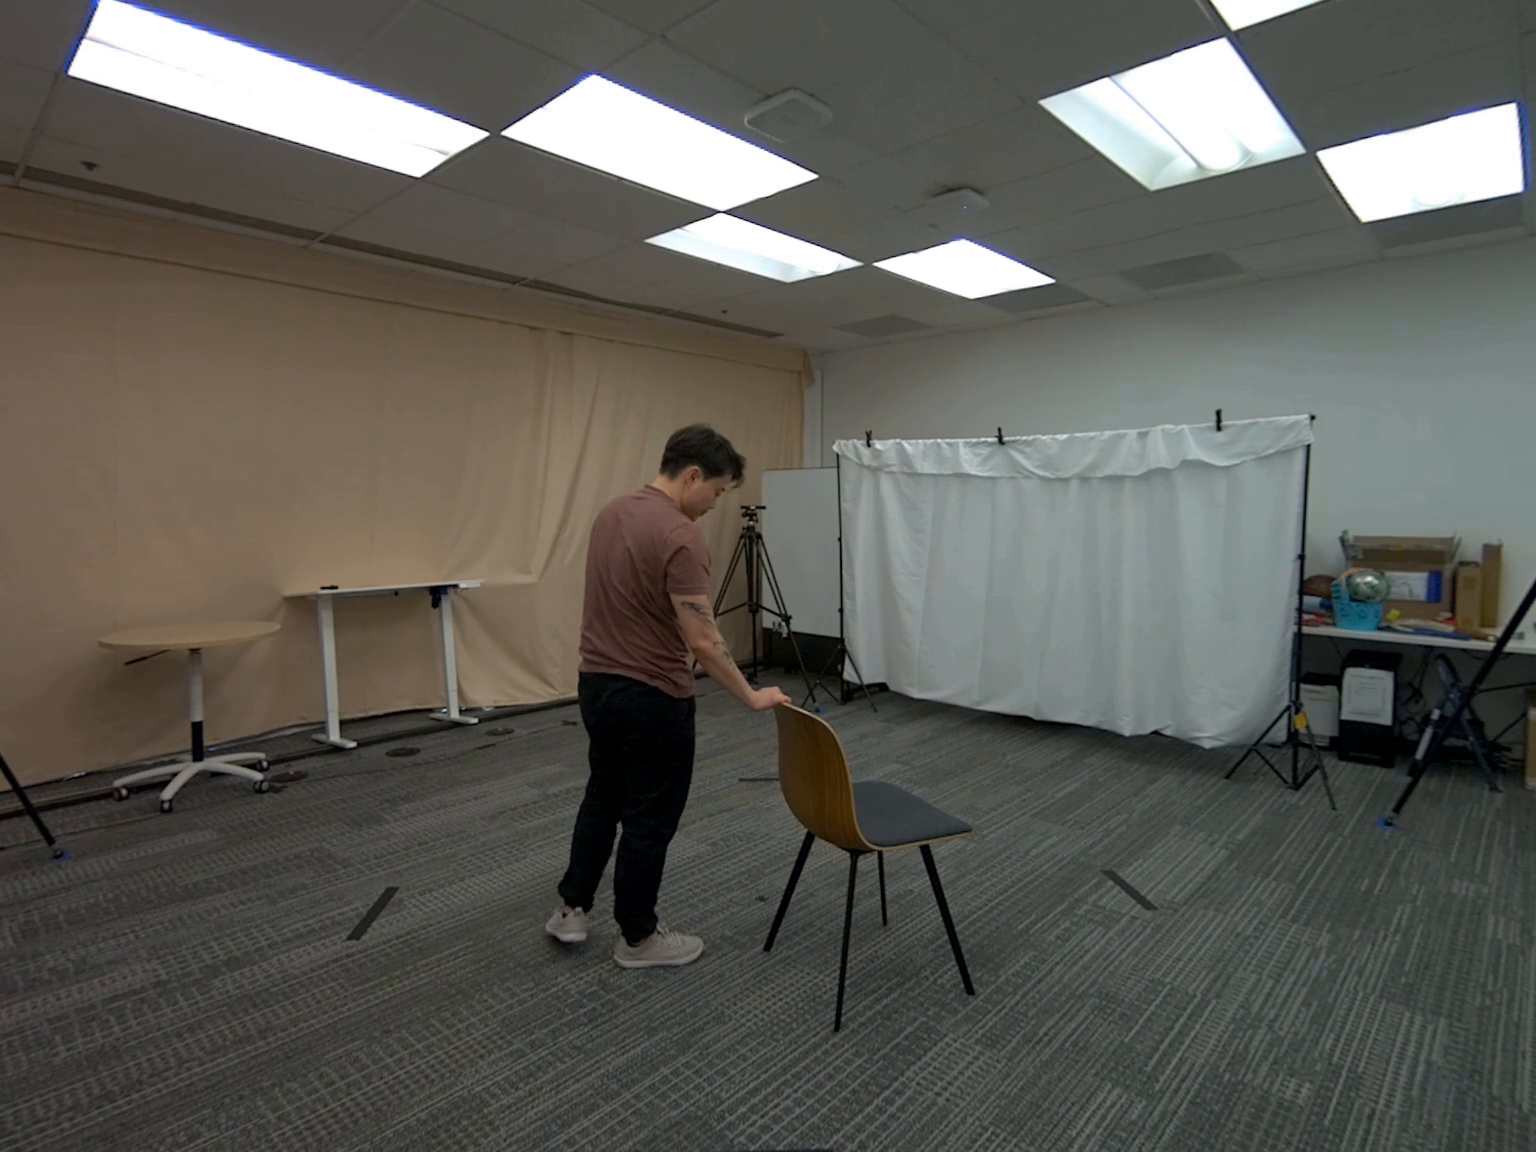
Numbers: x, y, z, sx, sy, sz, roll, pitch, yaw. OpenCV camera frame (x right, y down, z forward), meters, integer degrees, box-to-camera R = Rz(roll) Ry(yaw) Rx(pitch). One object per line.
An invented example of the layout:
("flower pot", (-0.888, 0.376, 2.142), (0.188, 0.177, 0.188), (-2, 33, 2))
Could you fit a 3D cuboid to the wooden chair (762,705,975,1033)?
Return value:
("wooden chair", (0.301, 0.760, 2.484), (0.512, 0.874, 0.490), (-6, 5, -24))
